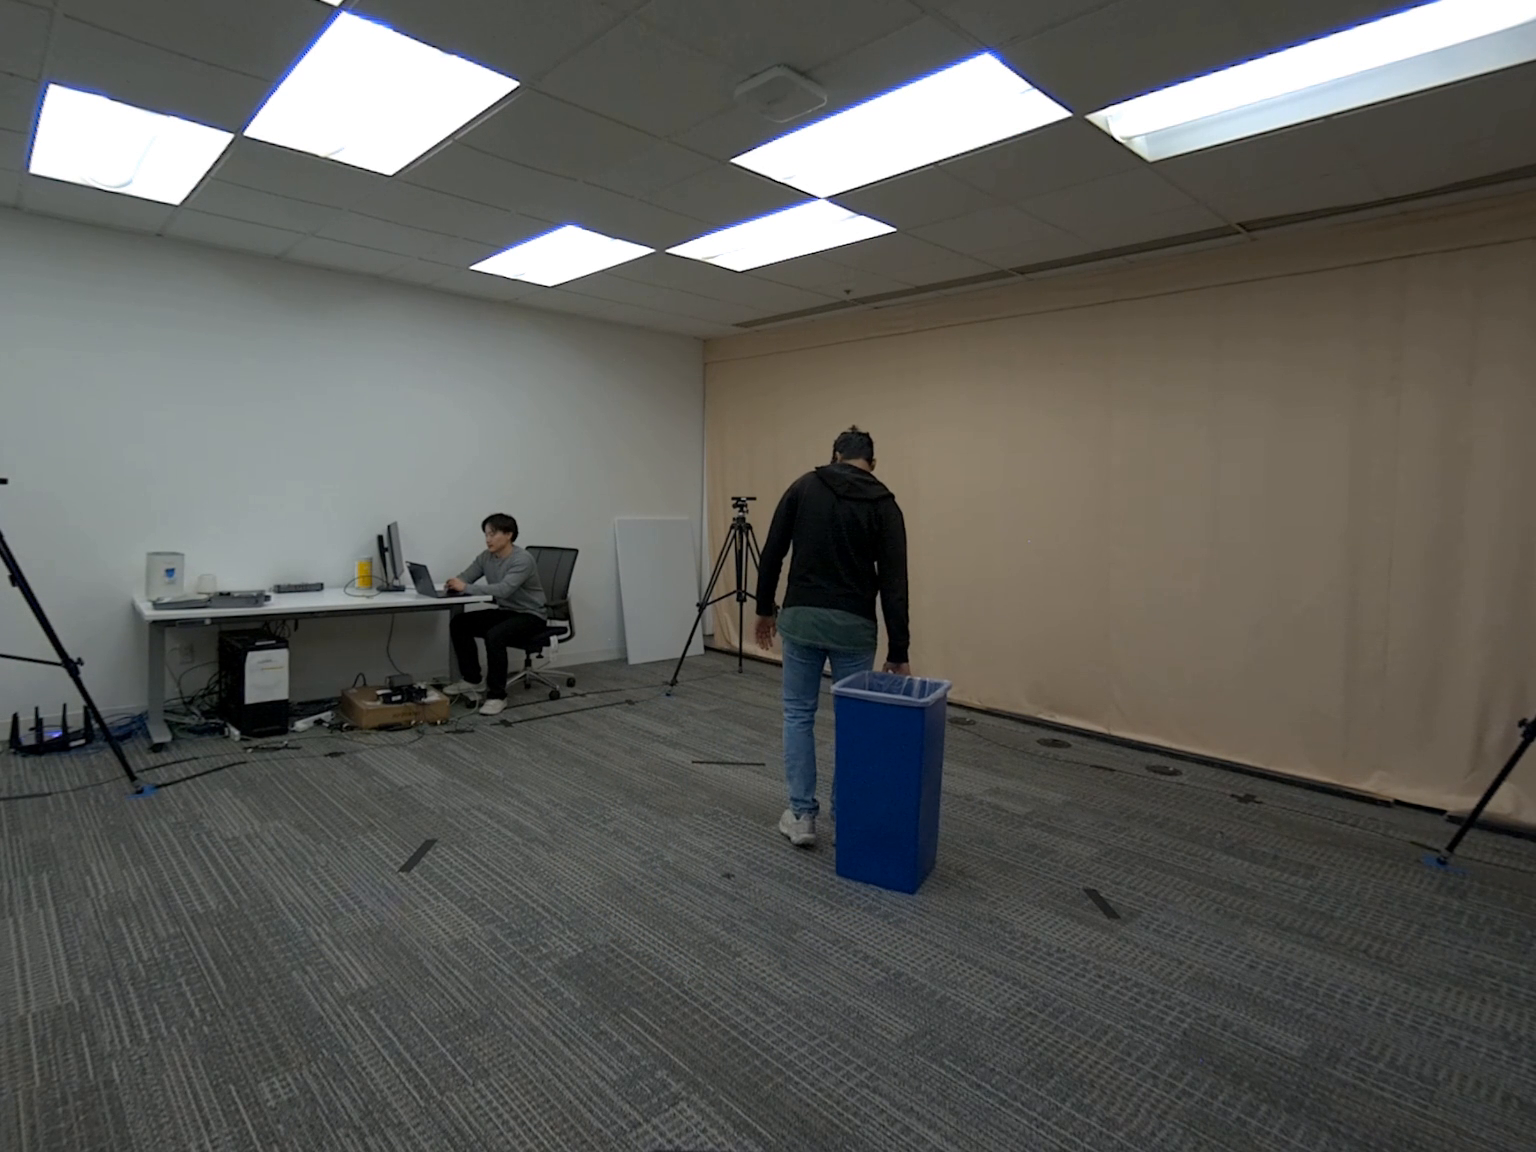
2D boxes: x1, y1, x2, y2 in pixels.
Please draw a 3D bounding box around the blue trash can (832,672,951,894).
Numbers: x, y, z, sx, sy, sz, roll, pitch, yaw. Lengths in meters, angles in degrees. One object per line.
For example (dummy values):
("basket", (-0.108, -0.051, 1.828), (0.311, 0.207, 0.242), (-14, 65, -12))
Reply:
("blue trash can", (0.440, 0.755, 3.154), (0.382, 0.711, 0.371), (4, 5, 26))
